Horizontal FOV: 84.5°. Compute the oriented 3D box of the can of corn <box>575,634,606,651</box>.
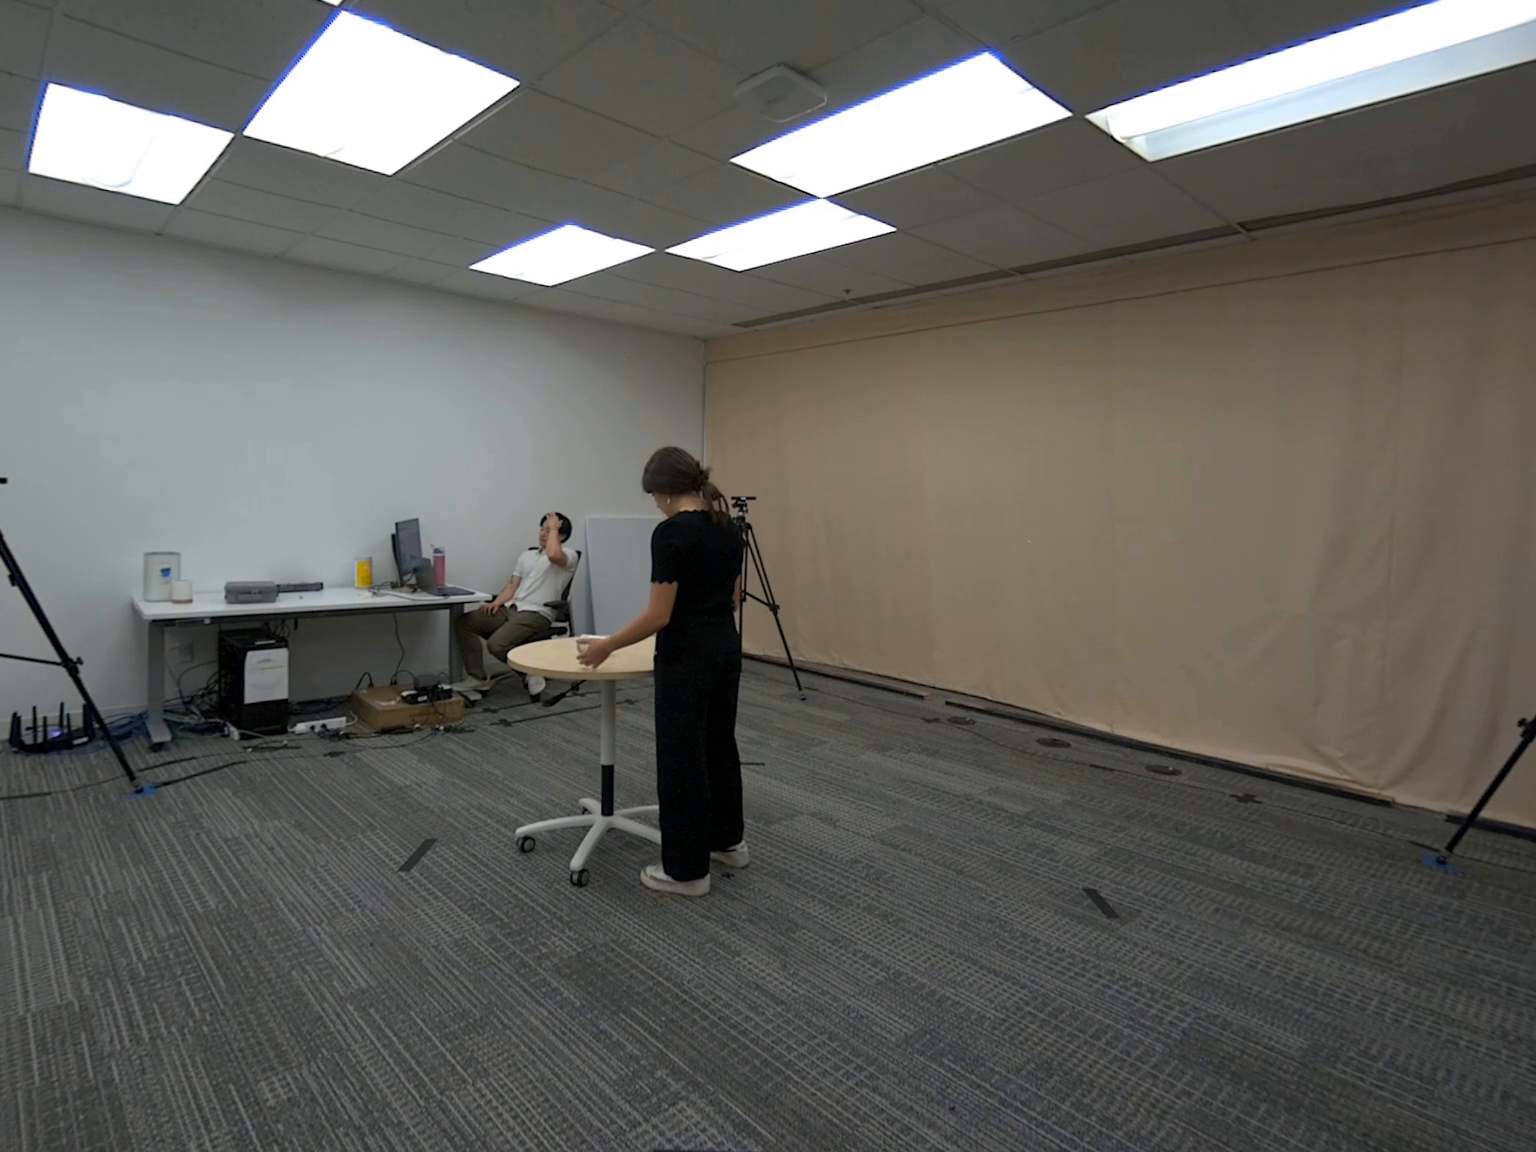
[{"bbox_3d":[-0.665,0.263,3.199,0.113,0.074,0.073,3,4,25],"label":"can of corn"}]
